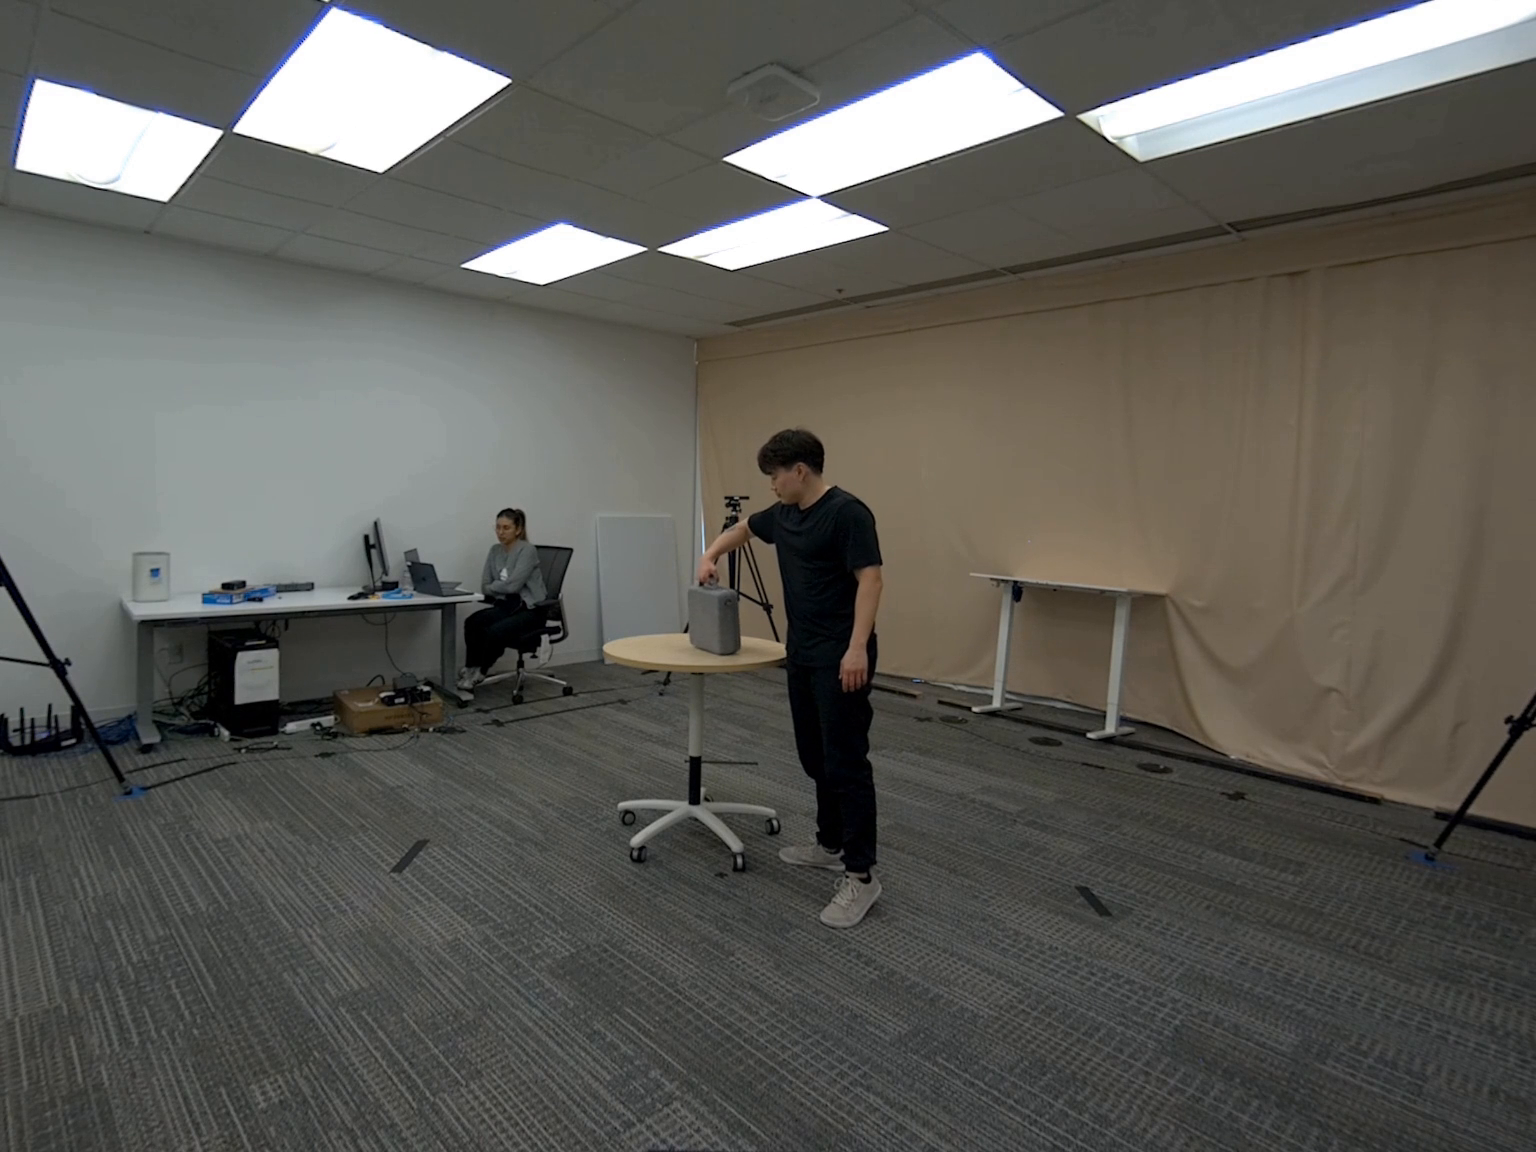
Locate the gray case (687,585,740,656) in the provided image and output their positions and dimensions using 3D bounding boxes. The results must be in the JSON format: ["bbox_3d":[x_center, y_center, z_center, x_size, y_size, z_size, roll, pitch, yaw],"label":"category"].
[{"bbox_3d":[-0.219,0.165,3.335,0.102,0.259,0.263,-7,8,-31],"label":"gray case"}]
